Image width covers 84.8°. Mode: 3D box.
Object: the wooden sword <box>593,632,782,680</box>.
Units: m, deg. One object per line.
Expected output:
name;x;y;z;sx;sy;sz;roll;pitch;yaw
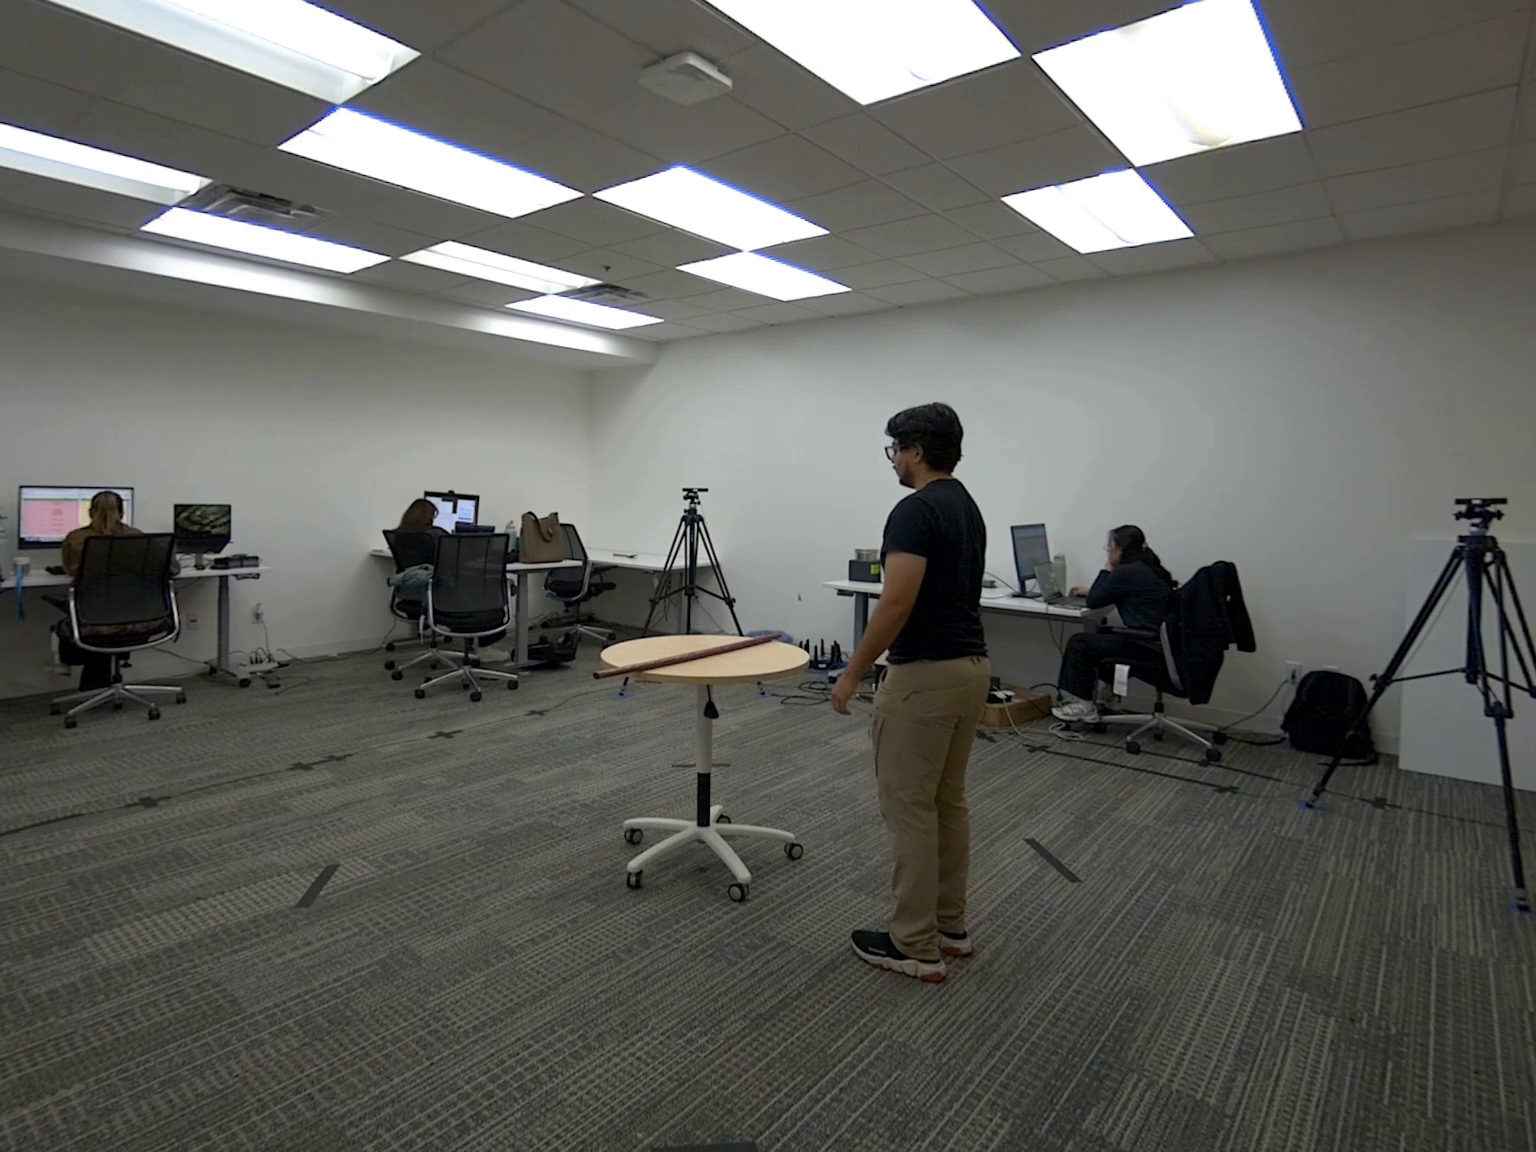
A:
wooden sword;-0.264;0.291;3.092;0.996;0.024;0.053;-8;50;-52
